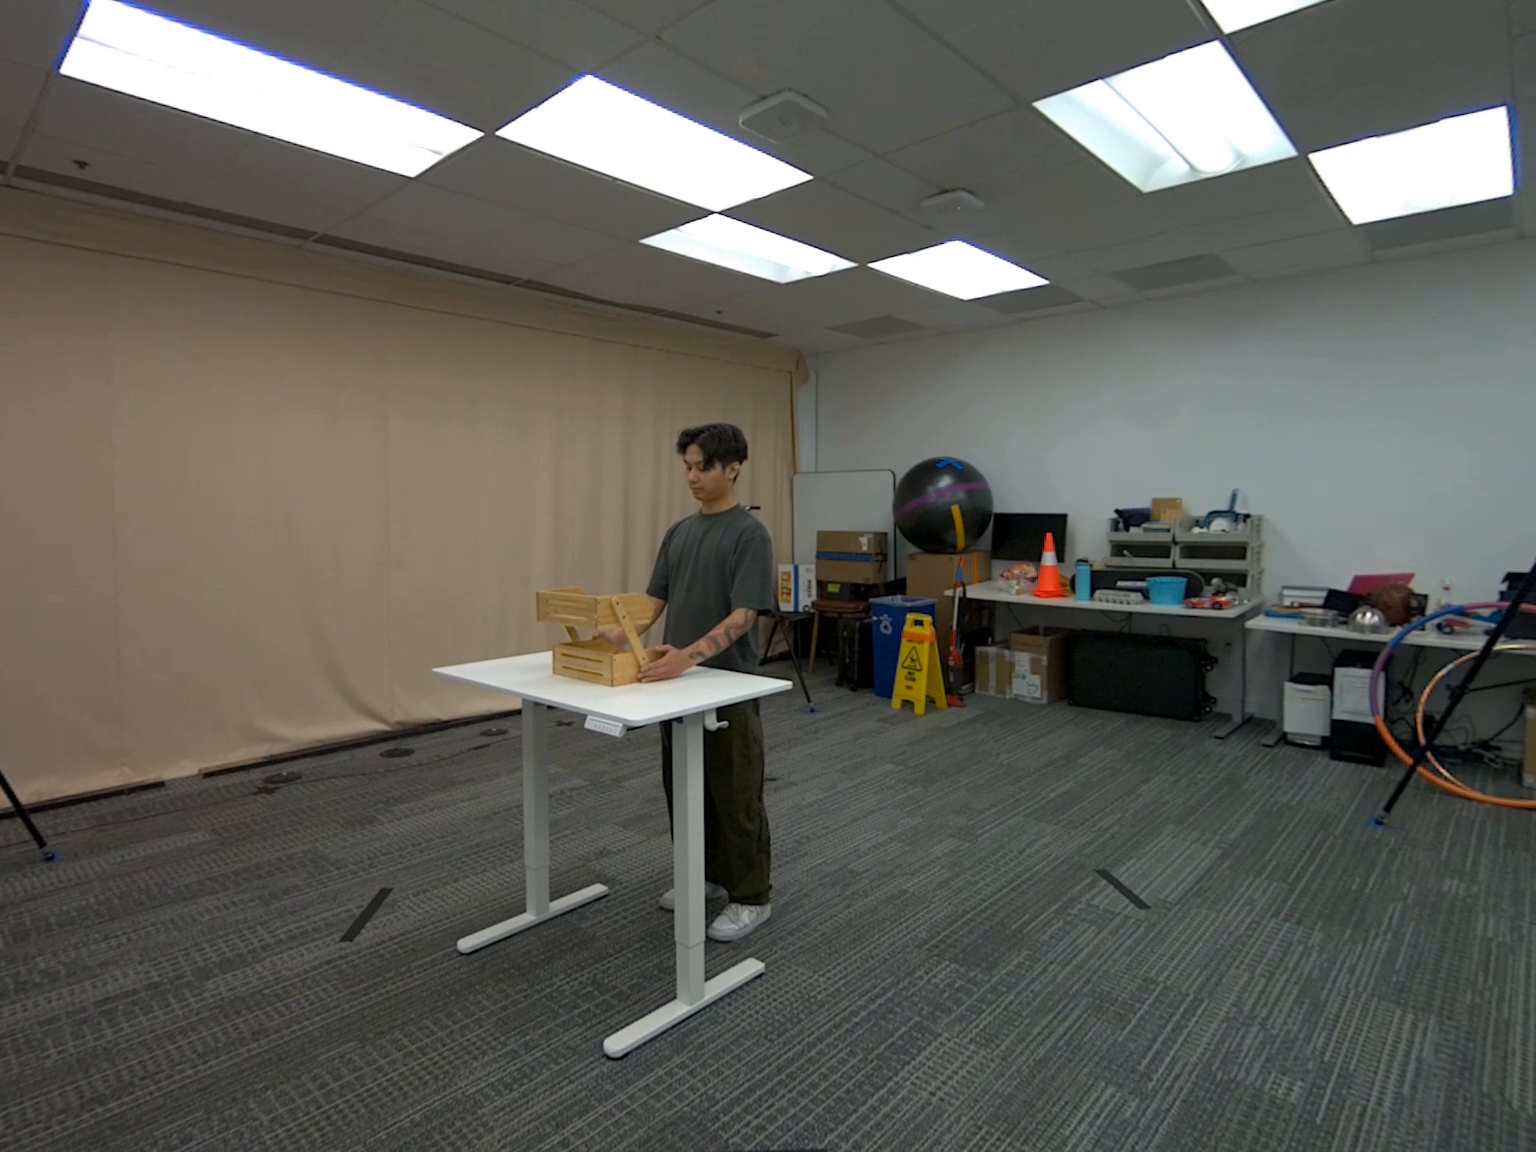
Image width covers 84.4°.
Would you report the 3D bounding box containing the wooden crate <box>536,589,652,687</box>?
[{"bbox_3d":[-0.480,0.168,2.544,0.335,0.273,0.293,2,5,42],"label":"wooden crate"}]
